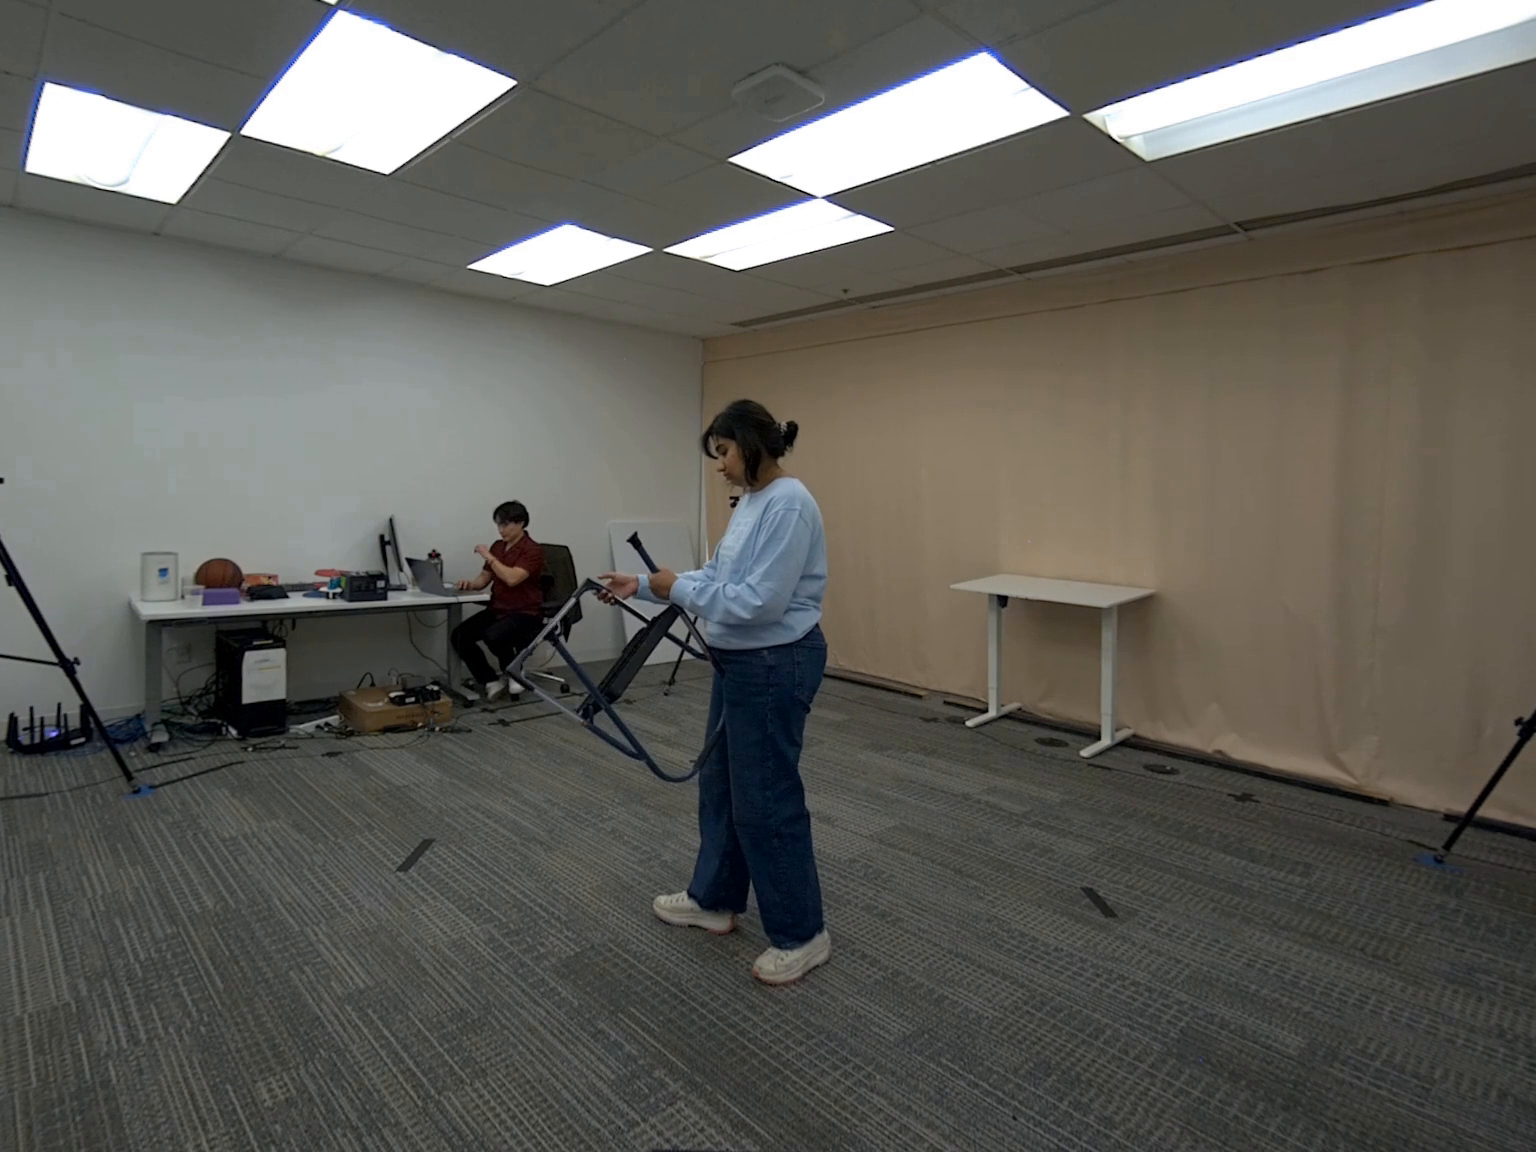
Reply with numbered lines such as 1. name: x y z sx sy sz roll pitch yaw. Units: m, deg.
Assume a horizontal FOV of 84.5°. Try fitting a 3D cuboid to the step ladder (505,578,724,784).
1. step ladder: -0.343 0.277 2.383 0.351 0.600 0.432 -35 14 49
